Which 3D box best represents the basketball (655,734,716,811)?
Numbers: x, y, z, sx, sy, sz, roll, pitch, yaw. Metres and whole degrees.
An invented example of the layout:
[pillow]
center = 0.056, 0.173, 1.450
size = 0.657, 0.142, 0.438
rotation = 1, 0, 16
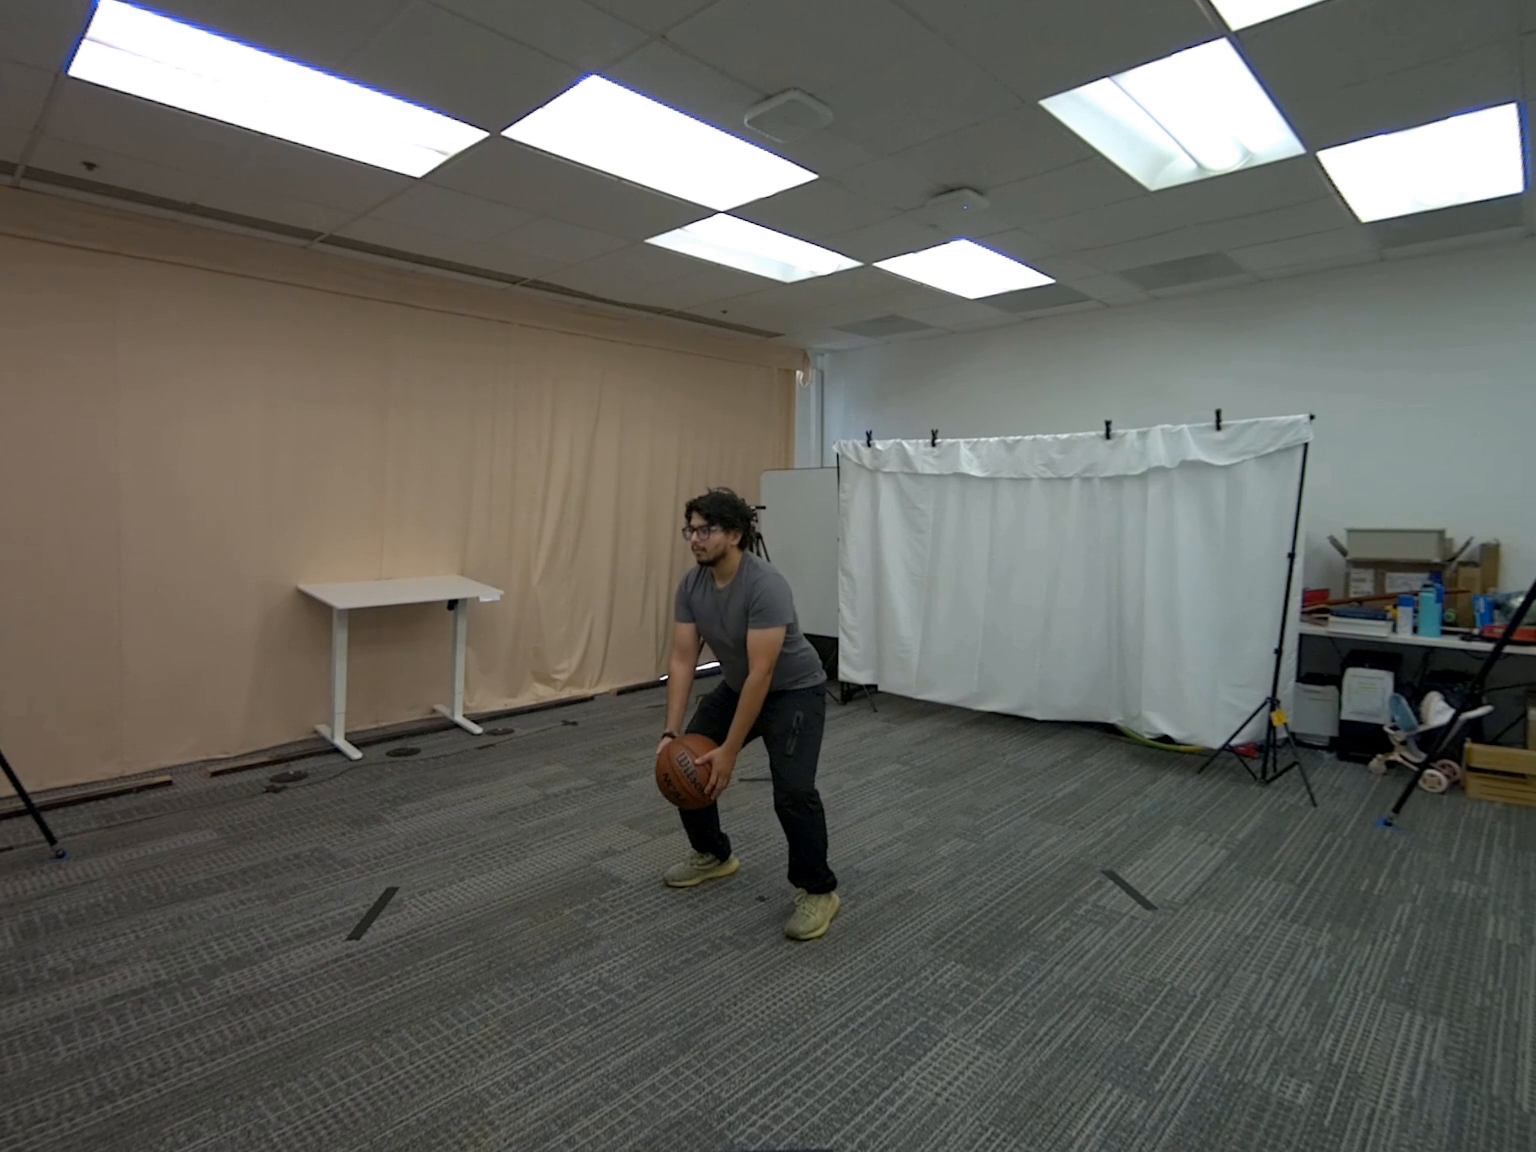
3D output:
[basketball]
center = -0.248, 0.639, 2.756
size = 0.236, 0.235, 0.237
rotation = 0, 4, -2
